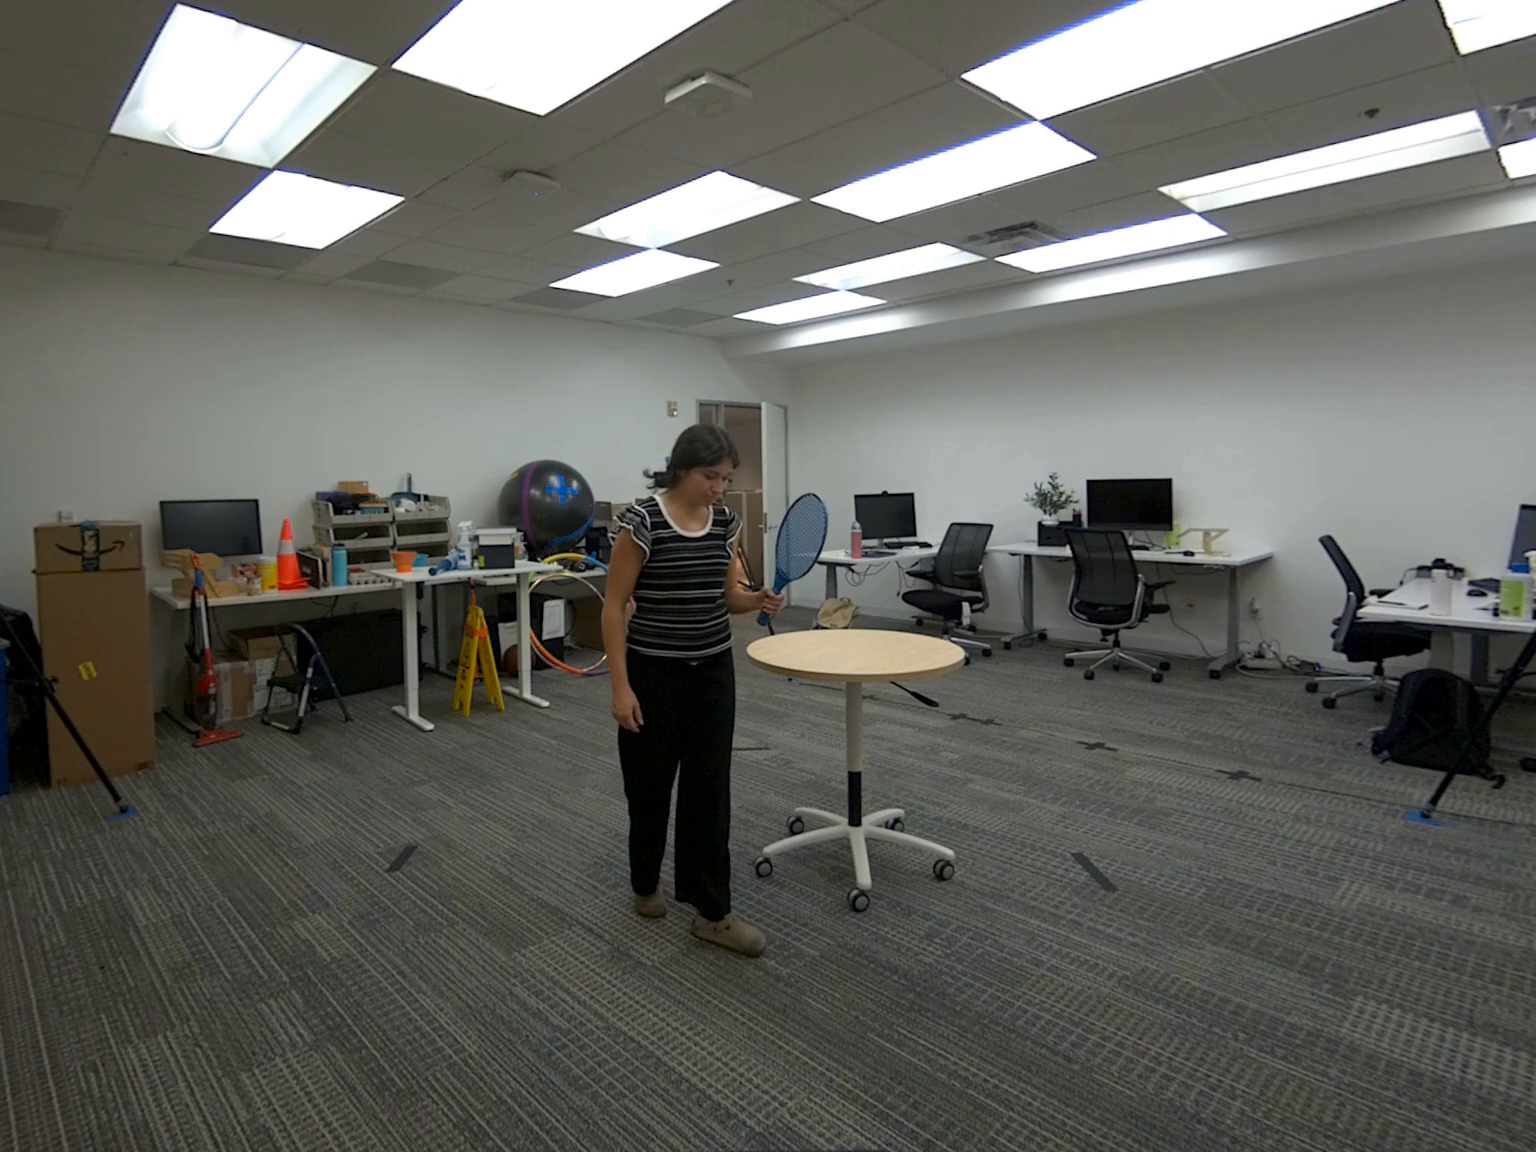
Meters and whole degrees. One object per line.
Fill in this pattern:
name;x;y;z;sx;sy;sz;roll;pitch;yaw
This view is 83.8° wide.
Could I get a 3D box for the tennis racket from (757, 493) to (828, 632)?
tennis racket;0.066;-0.042;2.499;0.031;0.429;0.222;10;24;-36
